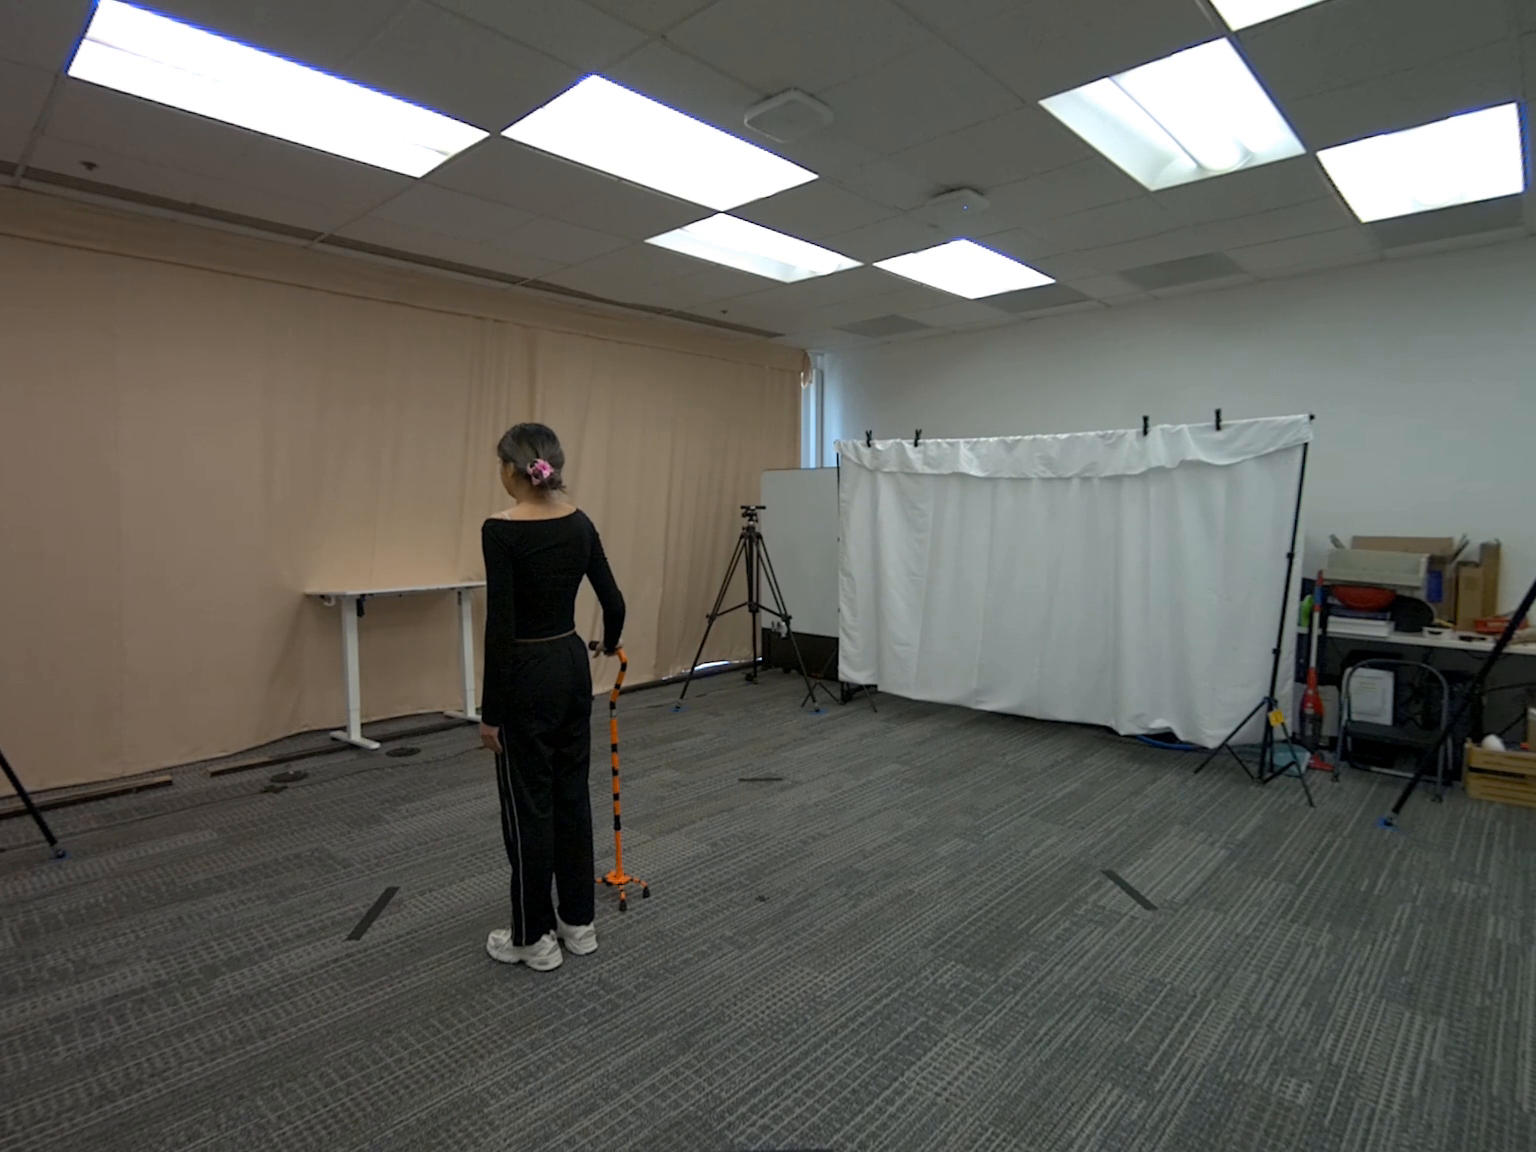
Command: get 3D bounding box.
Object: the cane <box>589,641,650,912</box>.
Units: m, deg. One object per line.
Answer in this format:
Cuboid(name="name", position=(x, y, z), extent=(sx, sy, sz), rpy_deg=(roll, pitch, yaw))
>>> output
Cuboid(name="cane", position=(-0.543, 0.690, 2.984), extent=(0.213, 0.906, 0.147), rpy_deg=(2, 4, 33))
